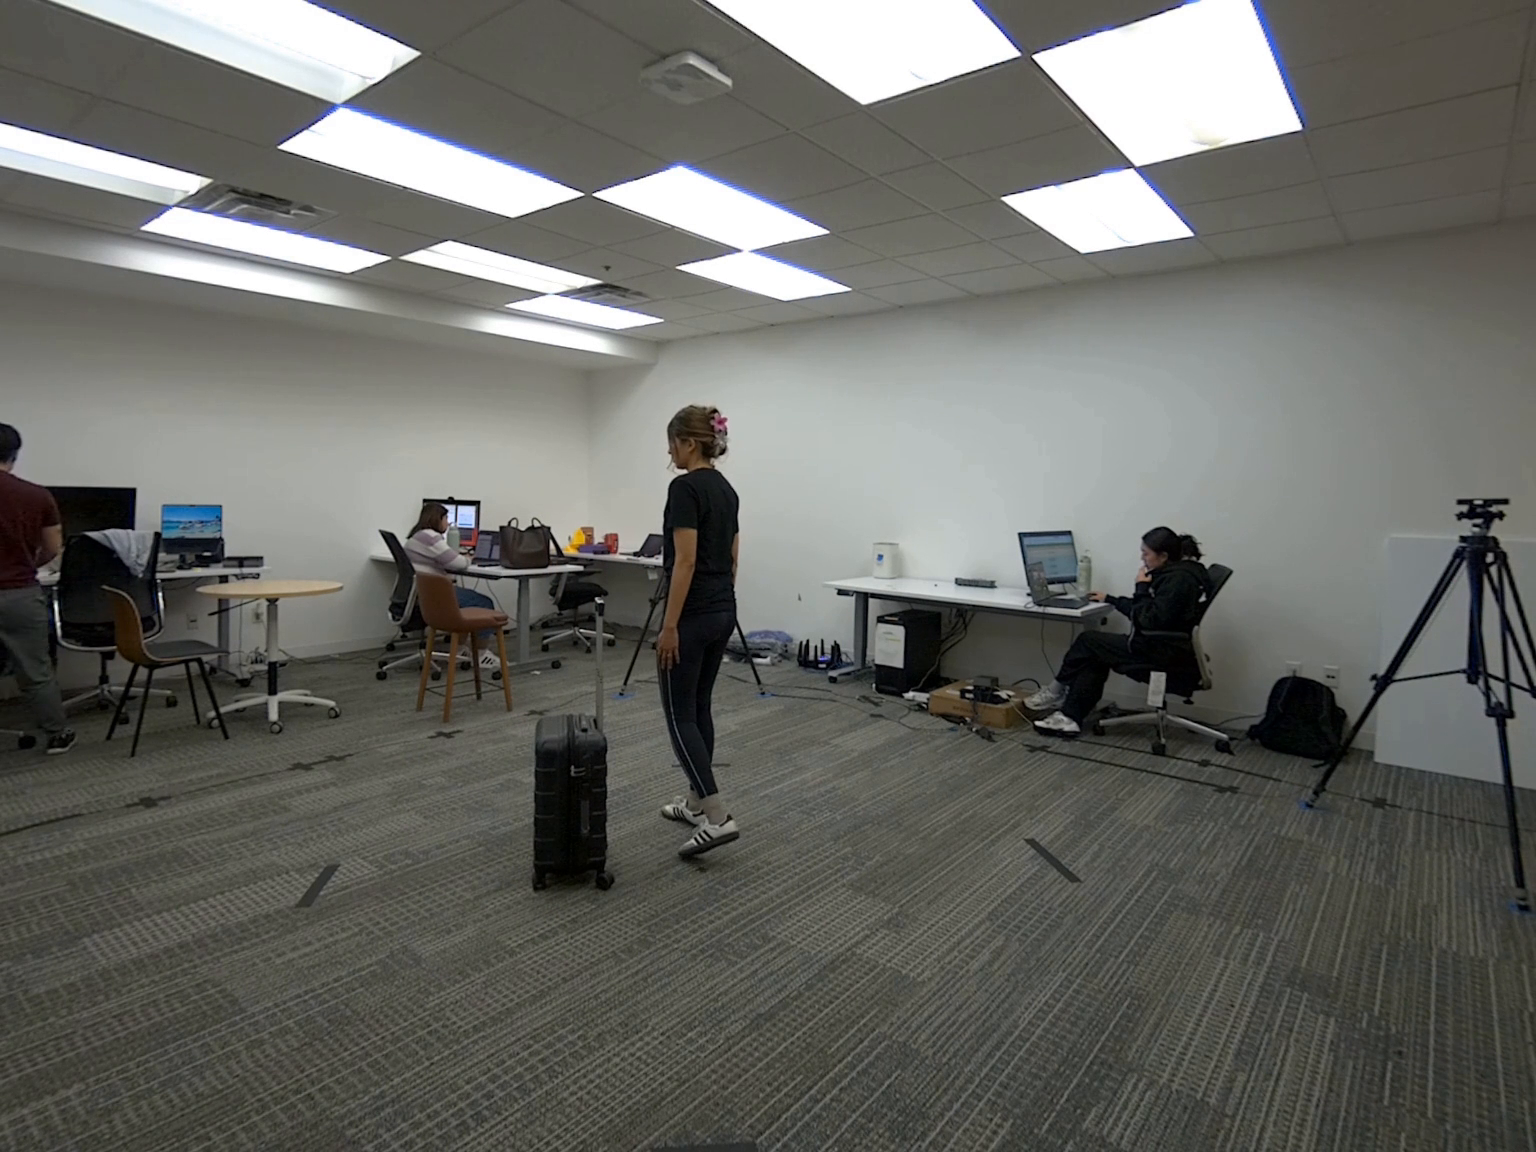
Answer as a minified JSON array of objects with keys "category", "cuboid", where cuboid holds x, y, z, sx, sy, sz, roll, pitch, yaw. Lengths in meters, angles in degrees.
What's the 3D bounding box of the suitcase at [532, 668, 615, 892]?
[{"category":"suitcase","cuboid":[-0.727,0.586,3.059,0.254,0.976,0.389,-1,3,-11]}]
